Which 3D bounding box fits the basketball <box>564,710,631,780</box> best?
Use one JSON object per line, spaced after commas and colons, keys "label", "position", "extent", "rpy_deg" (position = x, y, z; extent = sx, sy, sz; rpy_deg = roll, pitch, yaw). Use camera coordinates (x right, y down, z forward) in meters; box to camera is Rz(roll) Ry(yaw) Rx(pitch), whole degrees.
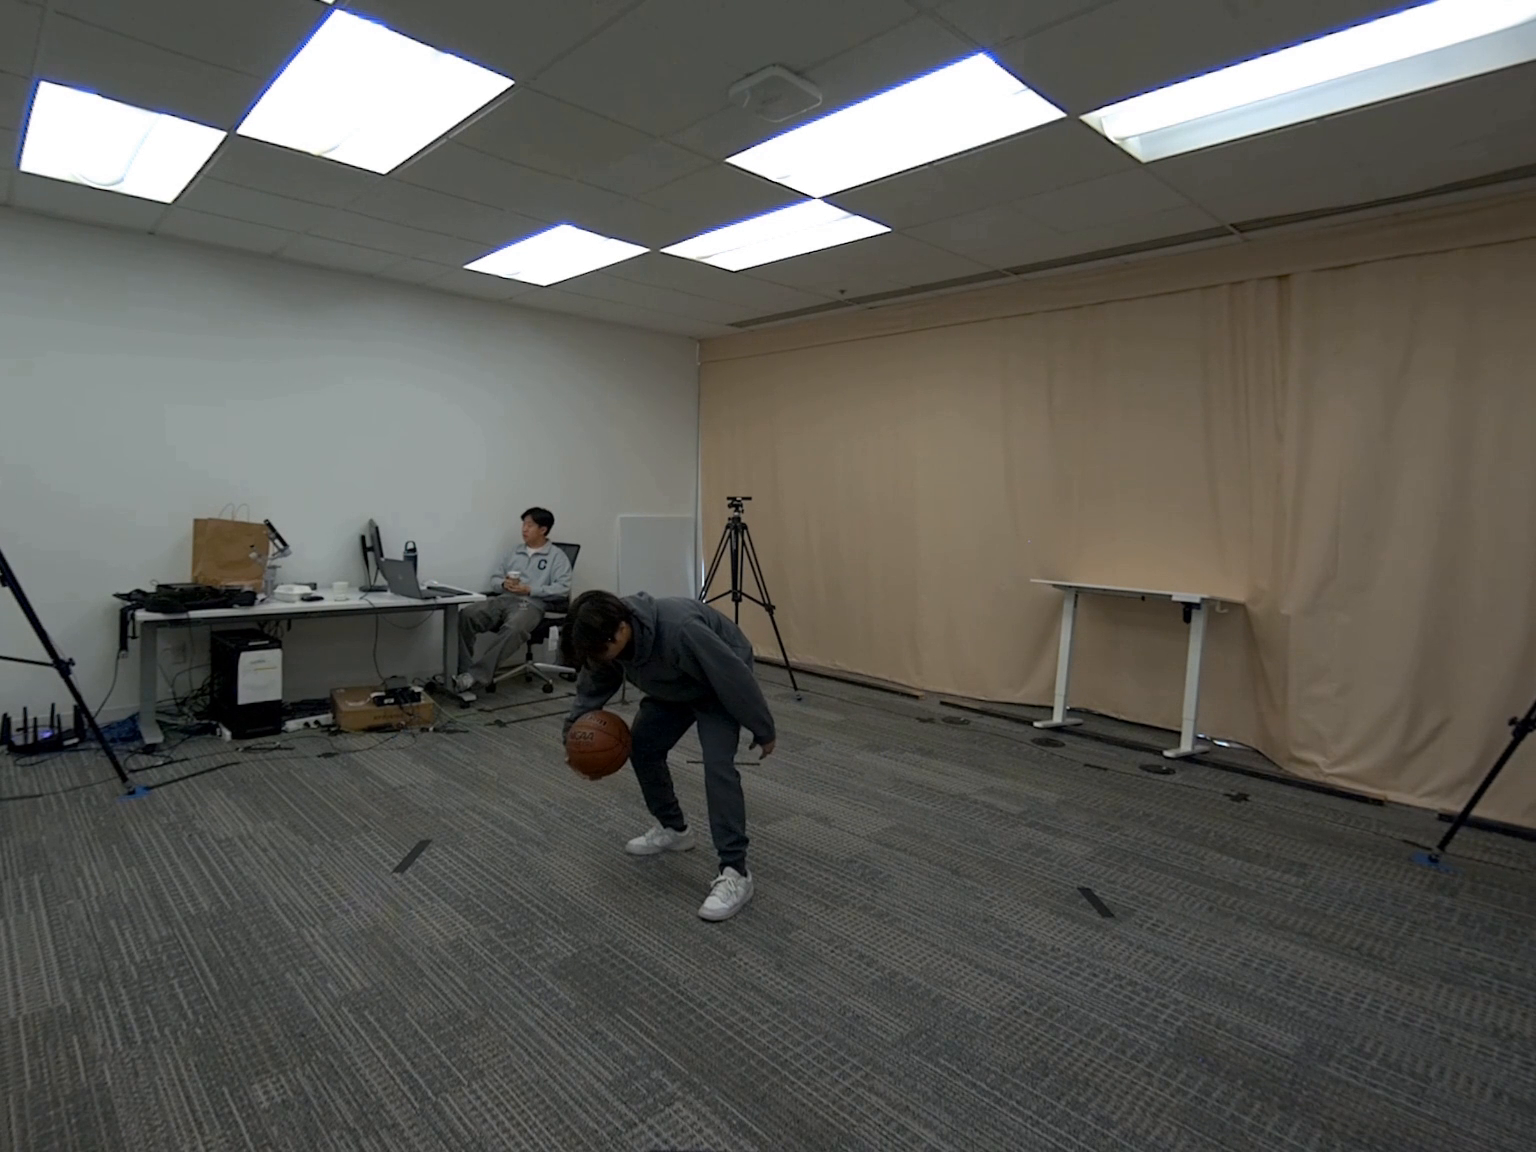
{"label": "basketball", "position": [-0.610, 0.614, 3.087], "extent": [0.236, 0.235, 0.237], "rpy_deg": [1, 4, -1]}
